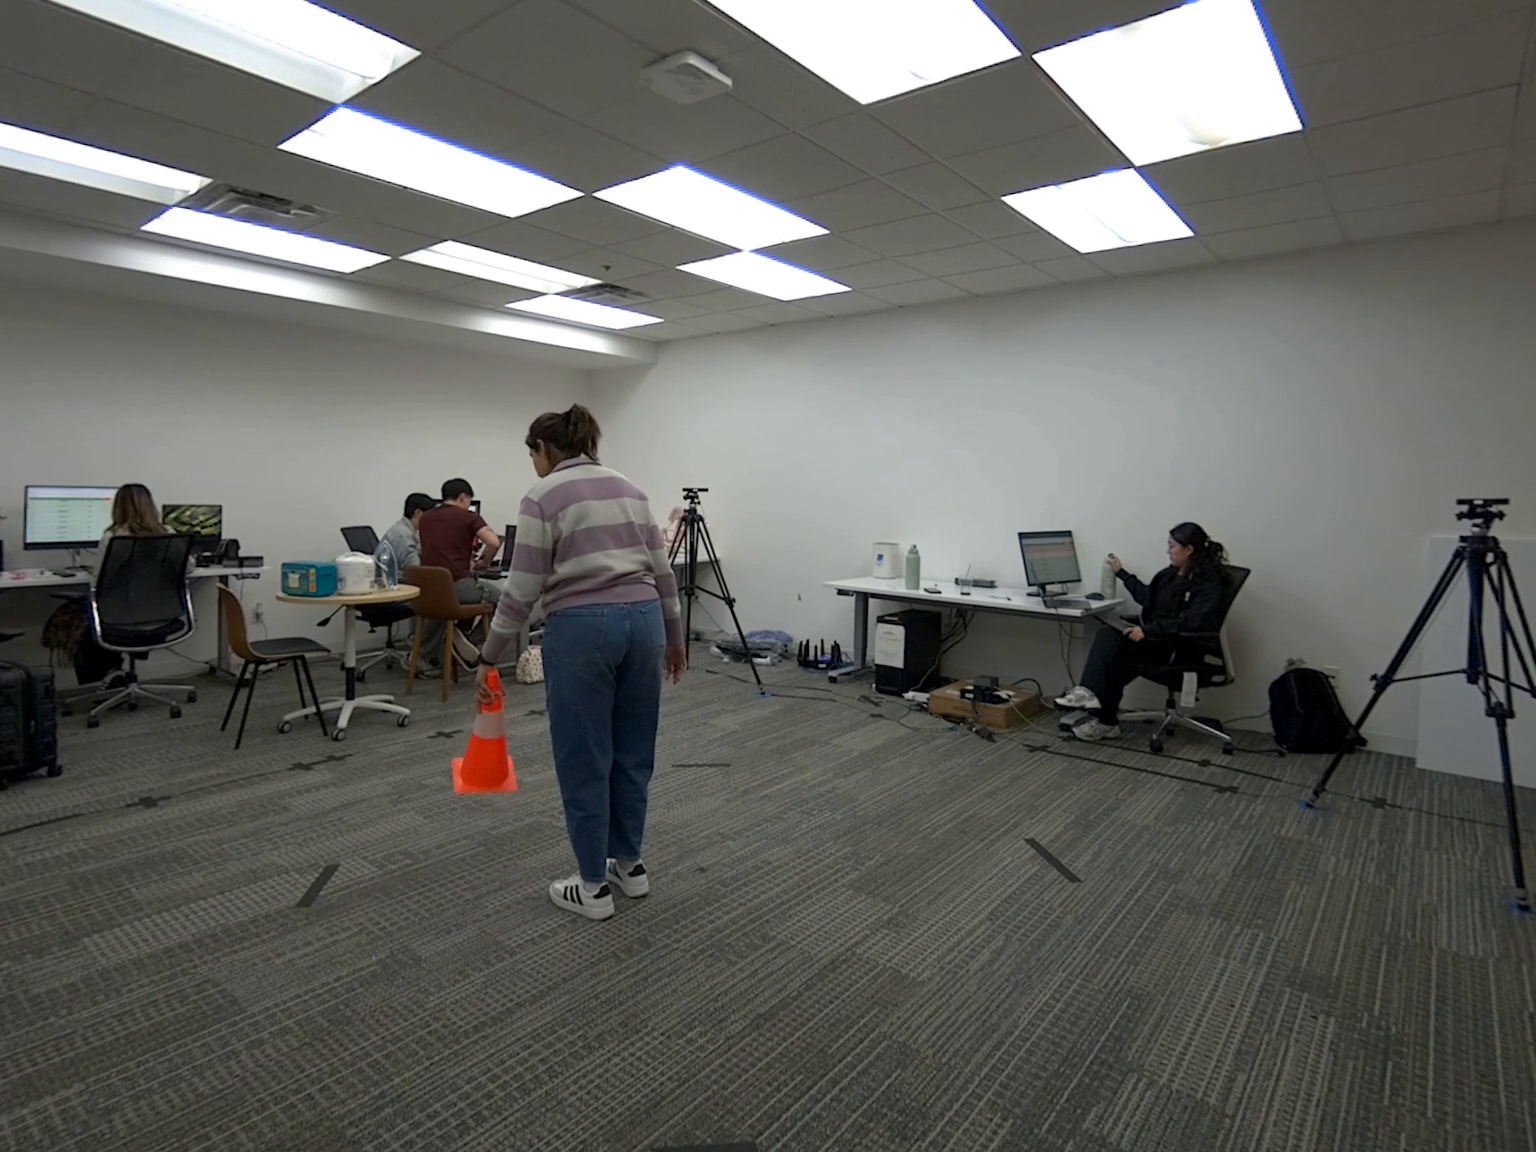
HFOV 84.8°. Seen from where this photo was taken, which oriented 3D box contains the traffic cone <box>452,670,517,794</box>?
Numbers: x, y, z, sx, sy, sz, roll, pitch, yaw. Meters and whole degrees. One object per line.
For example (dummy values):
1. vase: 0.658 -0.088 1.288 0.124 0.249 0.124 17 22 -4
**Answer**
1. traffic cone: -0.906 0.486 2.750 0.199 0.379 0.211 2 19 -30
